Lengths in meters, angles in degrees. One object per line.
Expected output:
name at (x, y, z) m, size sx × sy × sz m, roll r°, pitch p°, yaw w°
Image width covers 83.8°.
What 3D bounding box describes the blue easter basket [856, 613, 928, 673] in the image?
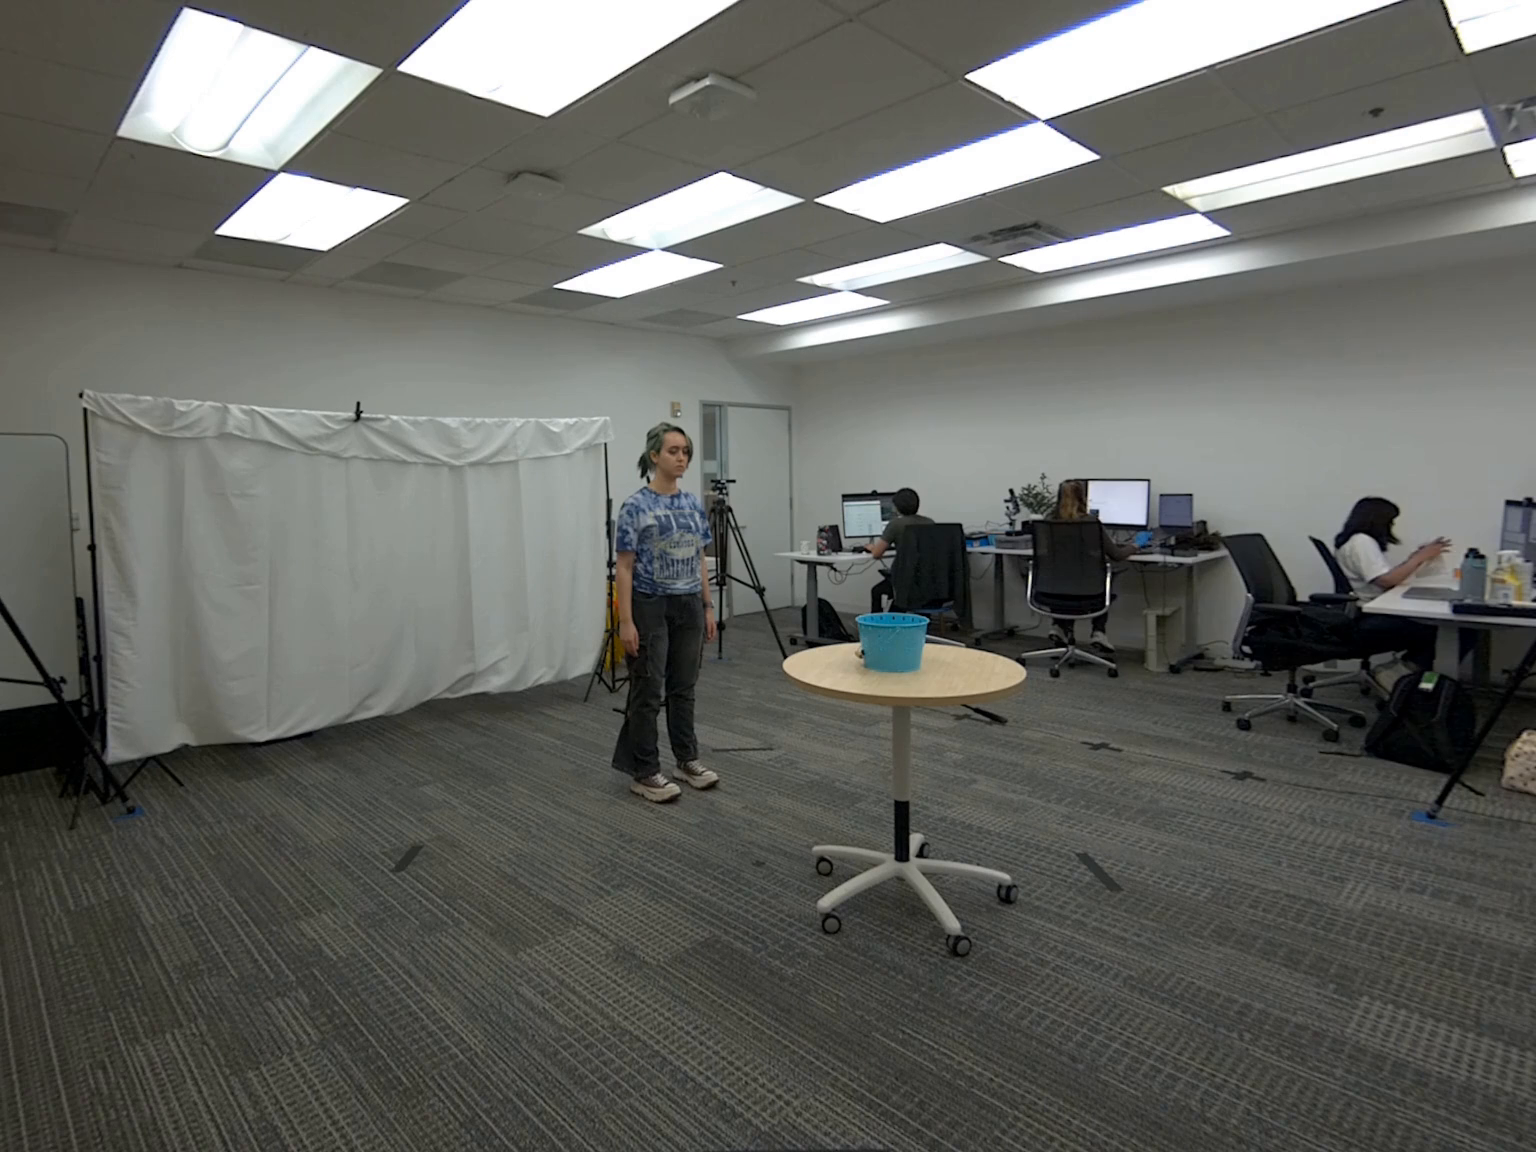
blue easter basket at (0.408, 0.218, 2.762) m, size 0.243 × 0.155 × 0.245 m, roll 0°, pitch 6°, yaw -2°
